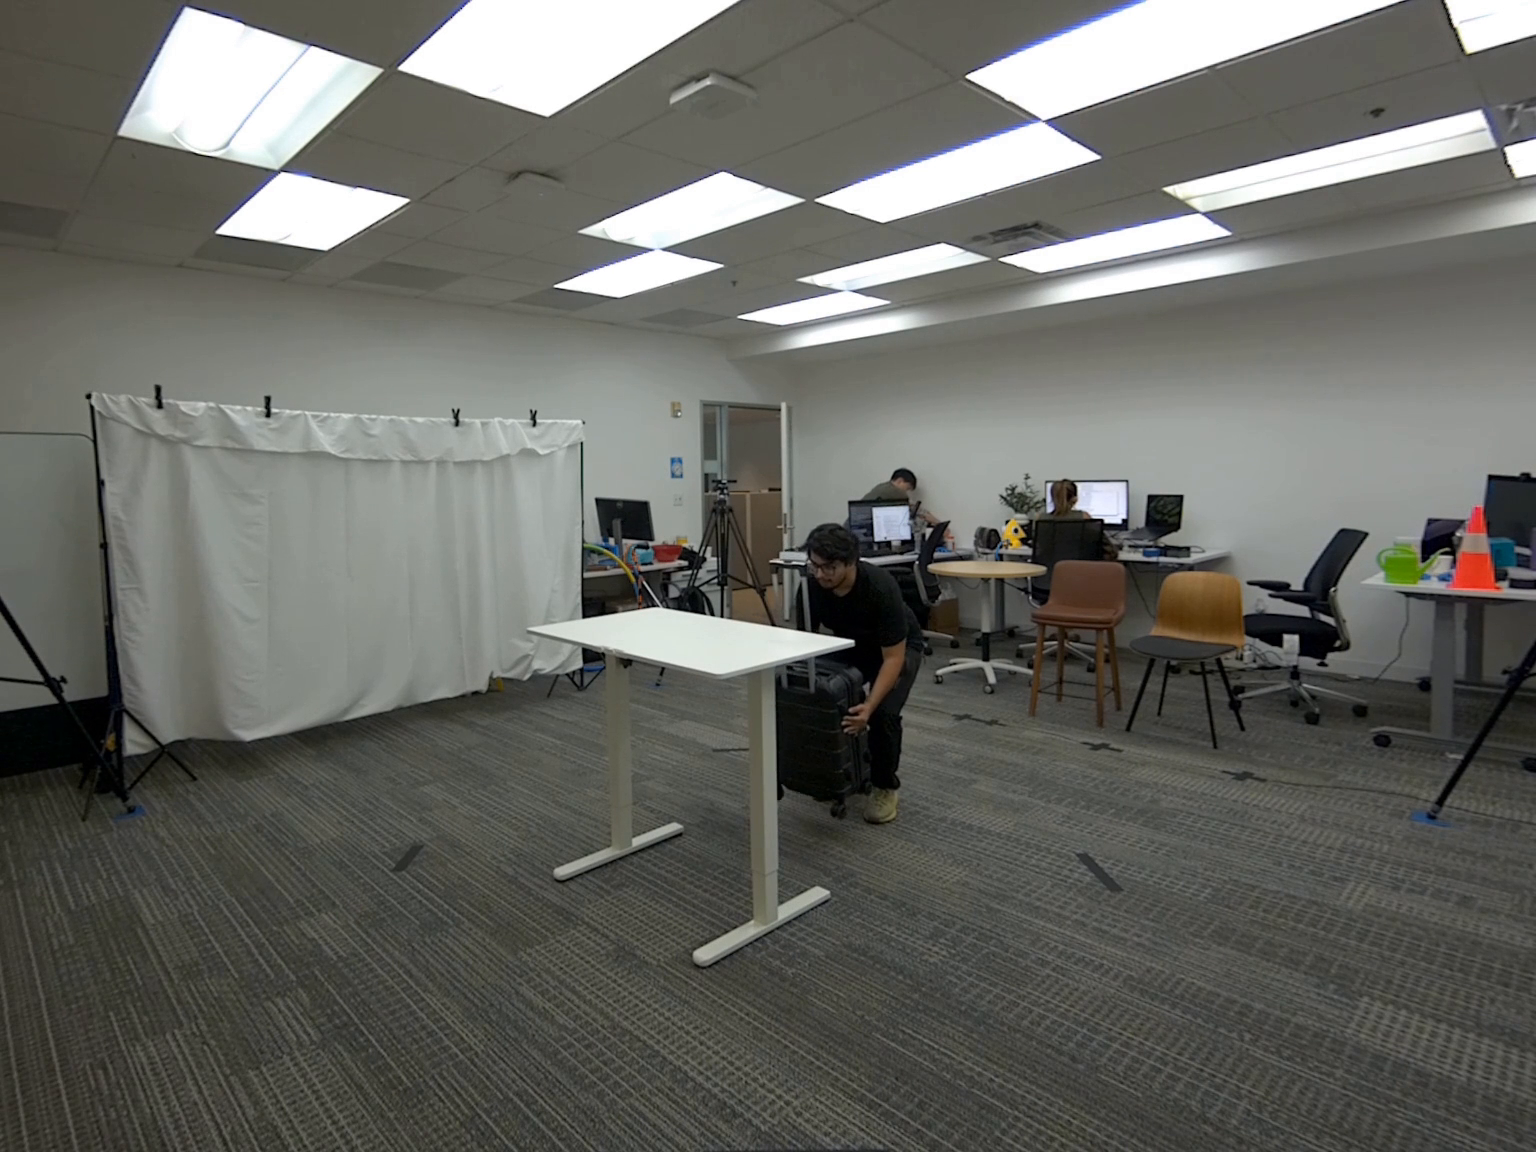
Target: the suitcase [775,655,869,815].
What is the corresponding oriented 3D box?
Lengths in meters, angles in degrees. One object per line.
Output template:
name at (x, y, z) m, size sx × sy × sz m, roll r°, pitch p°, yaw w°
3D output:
suitcase at (0.181, 0.408, 3.330) m, size 0.396 × 0.970 × 0.251 m, roll 4°, pitch 12°, yaw 39°
